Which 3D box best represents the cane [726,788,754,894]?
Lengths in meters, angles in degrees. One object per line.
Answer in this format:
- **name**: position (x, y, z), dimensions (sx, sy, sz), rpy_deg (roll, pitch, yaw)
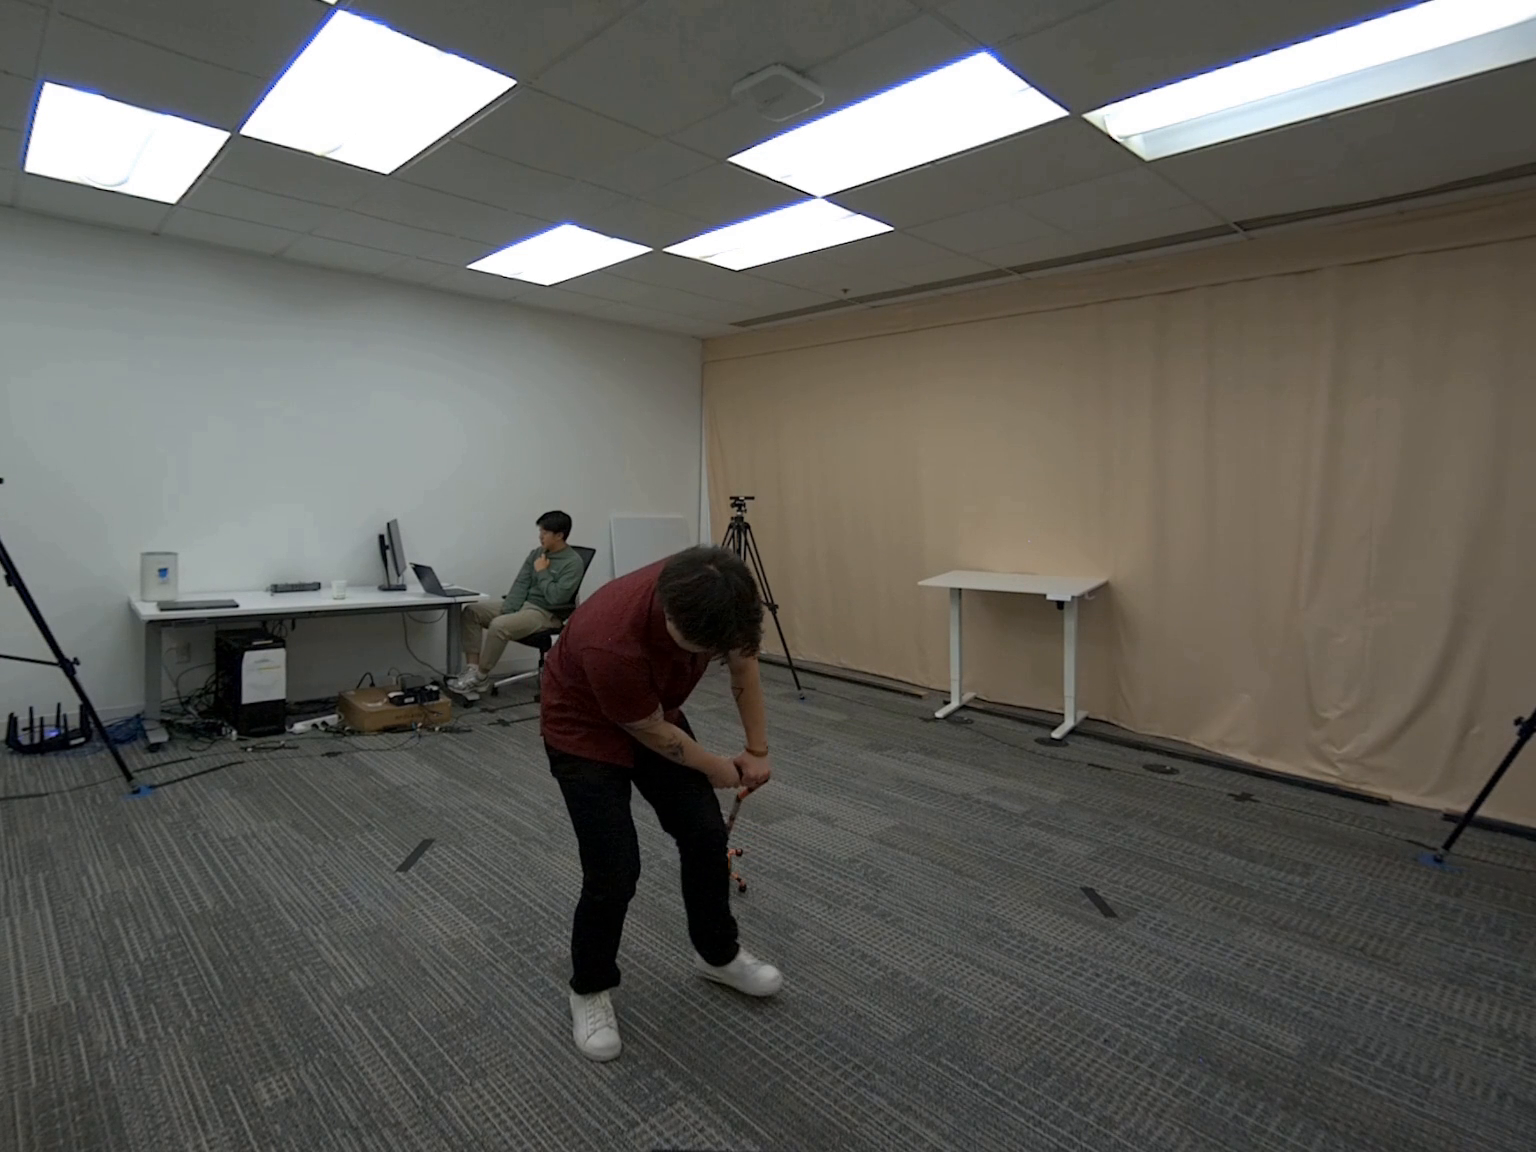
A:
- **cane**: position (-0.124, 0.806, 2.640), dimensions (0.205, 0.155, 0.893), rpy_deg (1, -35, -9)
